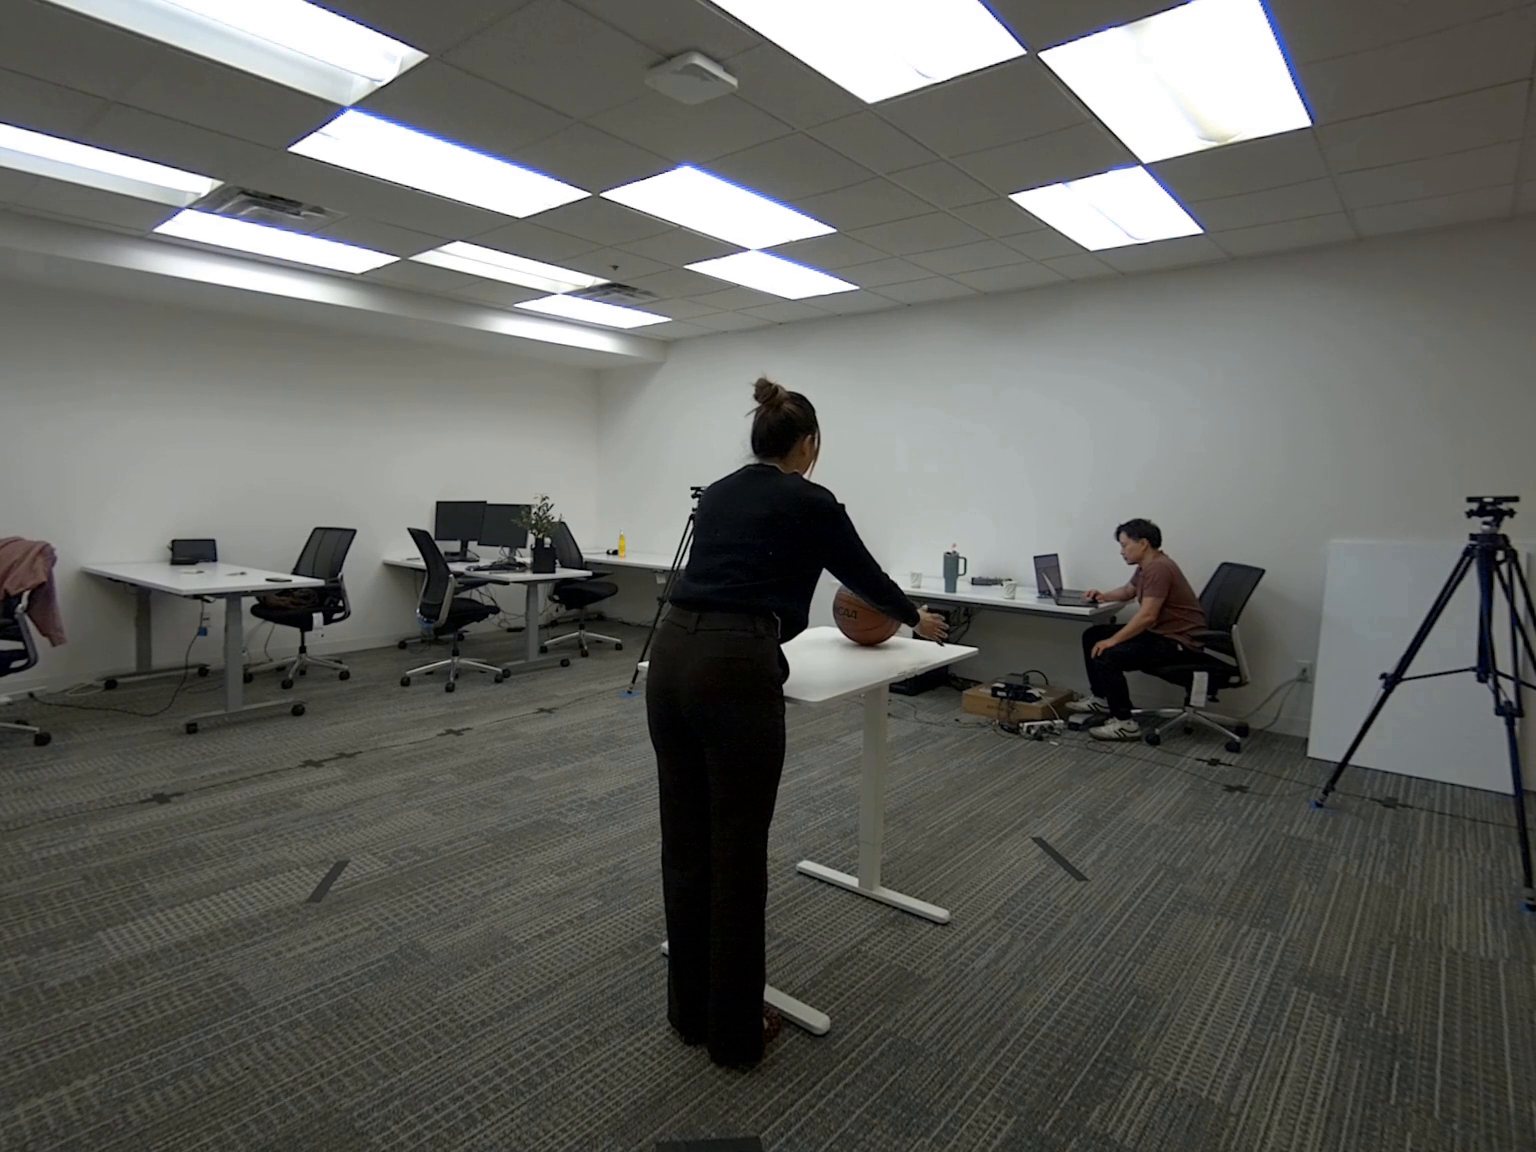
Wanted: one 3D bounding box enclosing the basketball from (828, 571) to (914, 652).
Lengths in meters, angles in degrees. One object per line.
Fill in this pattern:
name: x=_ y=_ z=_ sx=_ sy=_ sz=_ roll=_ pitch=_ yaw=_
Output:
basketball: x=0.337 y=0.109 z=2.820 sx=0.235 sy=0.235 sz=0.237 roll=1 pitch=4 yaw=-2
